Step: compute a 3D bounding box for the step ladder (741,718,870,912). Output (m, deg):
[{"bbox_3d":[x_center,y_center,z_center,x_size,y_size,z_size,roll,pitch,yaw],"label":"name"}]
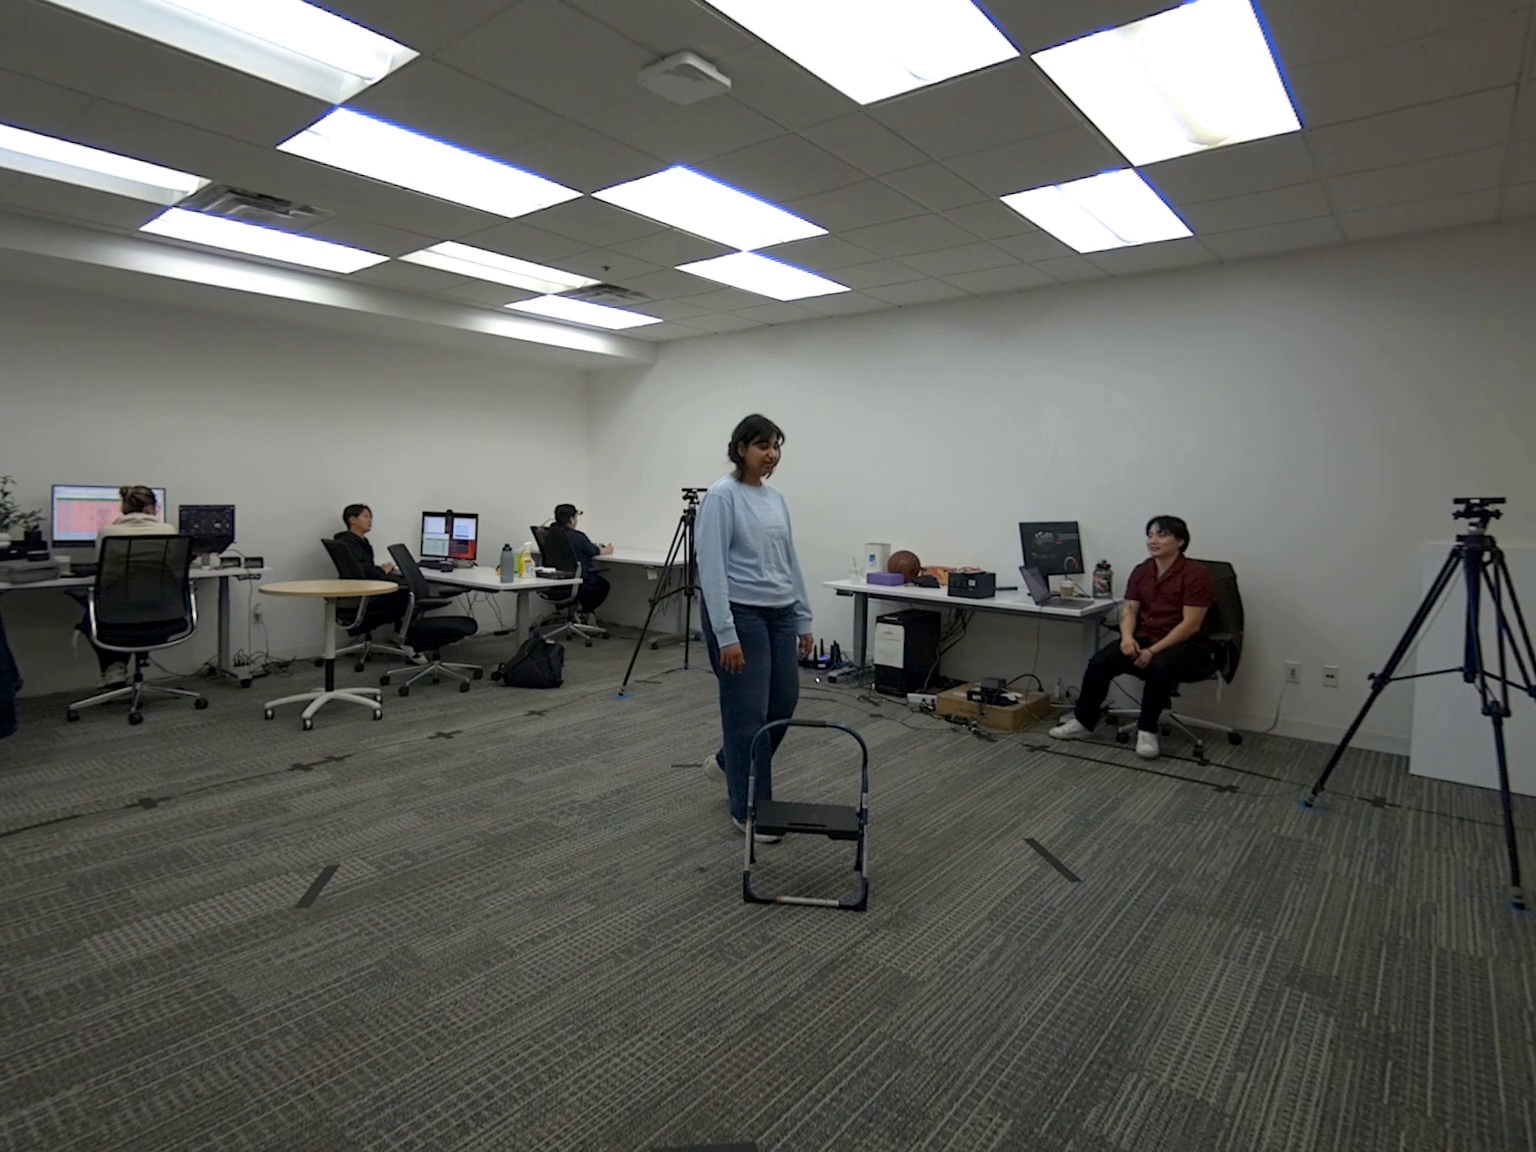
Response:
[{"bbox_3d":[0.132,0.786,2.994,0.433,0.605,0.348,1,3,5],"label":"step ladder"}]
